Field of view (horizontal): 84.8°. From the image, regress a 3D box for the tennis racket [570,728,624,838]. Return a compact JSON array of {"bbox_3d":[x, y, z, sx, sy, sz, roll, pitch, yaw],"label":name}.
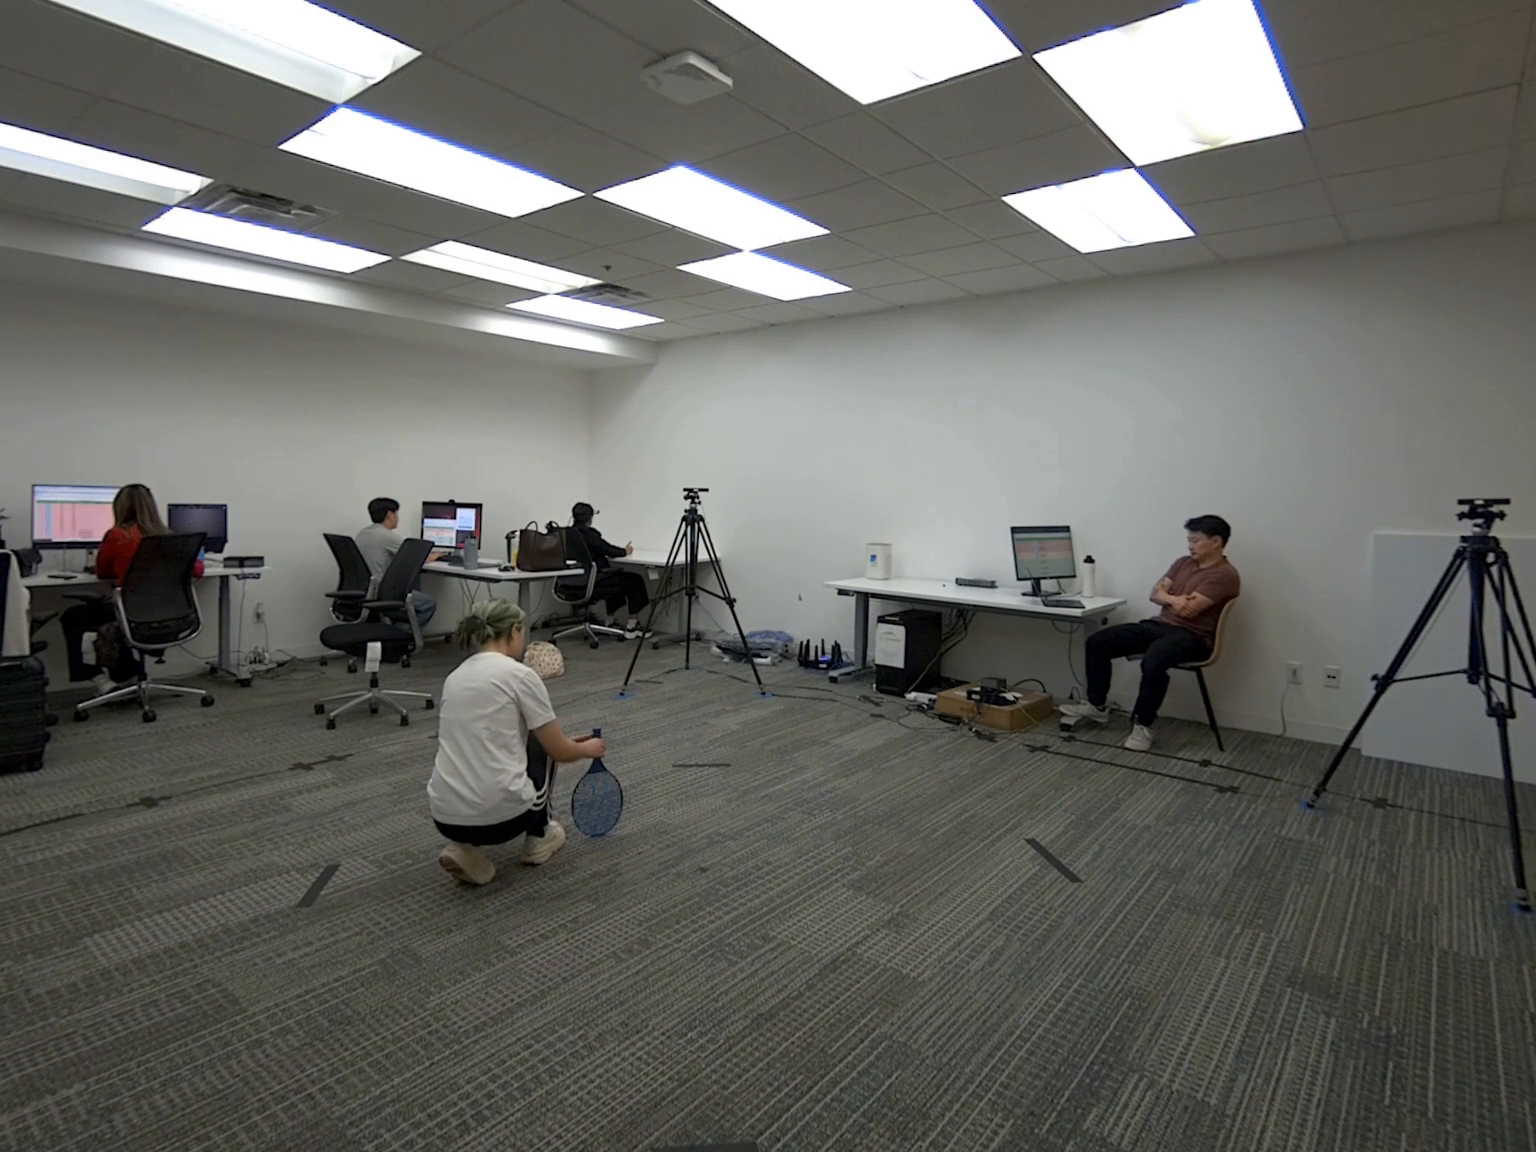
[{"bbox_3d":[-0.691,0.819,3.386,0.209,0.432,0.032,-2,1,-24],"label":"tennis racket"}]
